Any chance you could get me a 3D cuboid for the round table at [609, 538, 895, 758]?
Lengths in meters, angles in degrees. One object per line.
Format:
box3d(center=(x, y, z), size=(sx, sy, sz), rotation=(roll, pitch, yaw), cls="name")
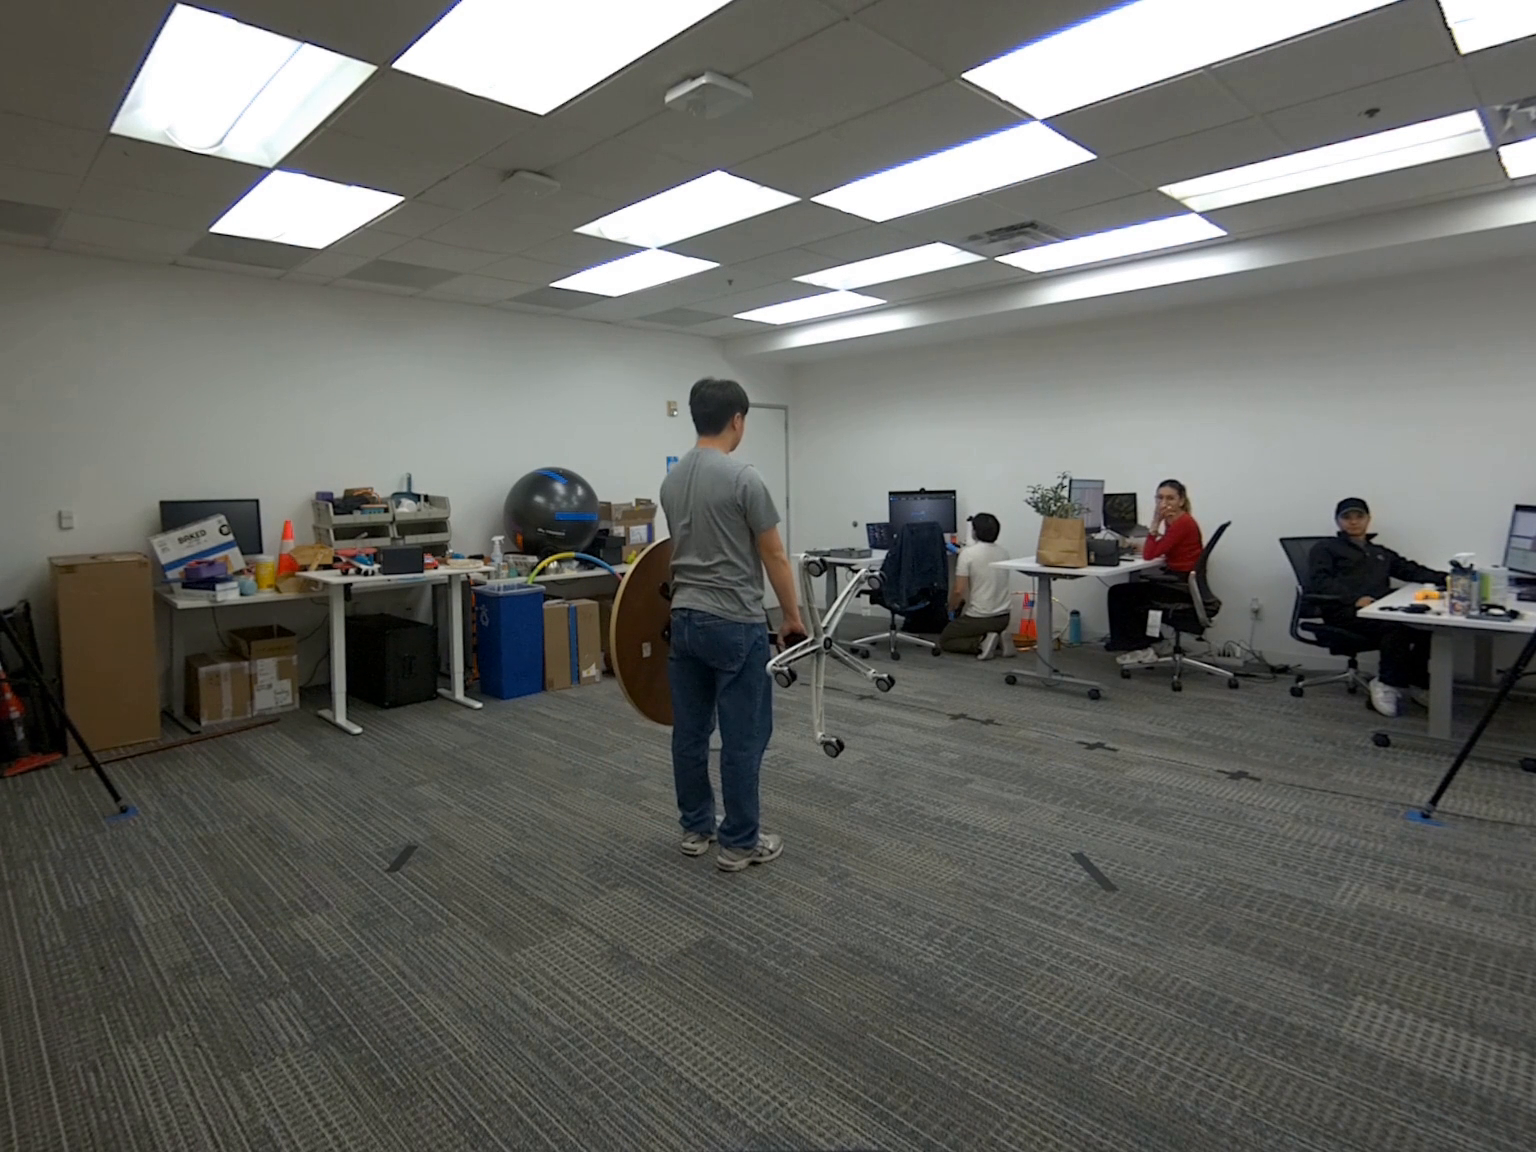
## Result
box3d(center=(-0.038, 0.236, 3.202), size=(0.817, 0.762, 0.744), rotation=(1, 5, 39), cls="round table")
